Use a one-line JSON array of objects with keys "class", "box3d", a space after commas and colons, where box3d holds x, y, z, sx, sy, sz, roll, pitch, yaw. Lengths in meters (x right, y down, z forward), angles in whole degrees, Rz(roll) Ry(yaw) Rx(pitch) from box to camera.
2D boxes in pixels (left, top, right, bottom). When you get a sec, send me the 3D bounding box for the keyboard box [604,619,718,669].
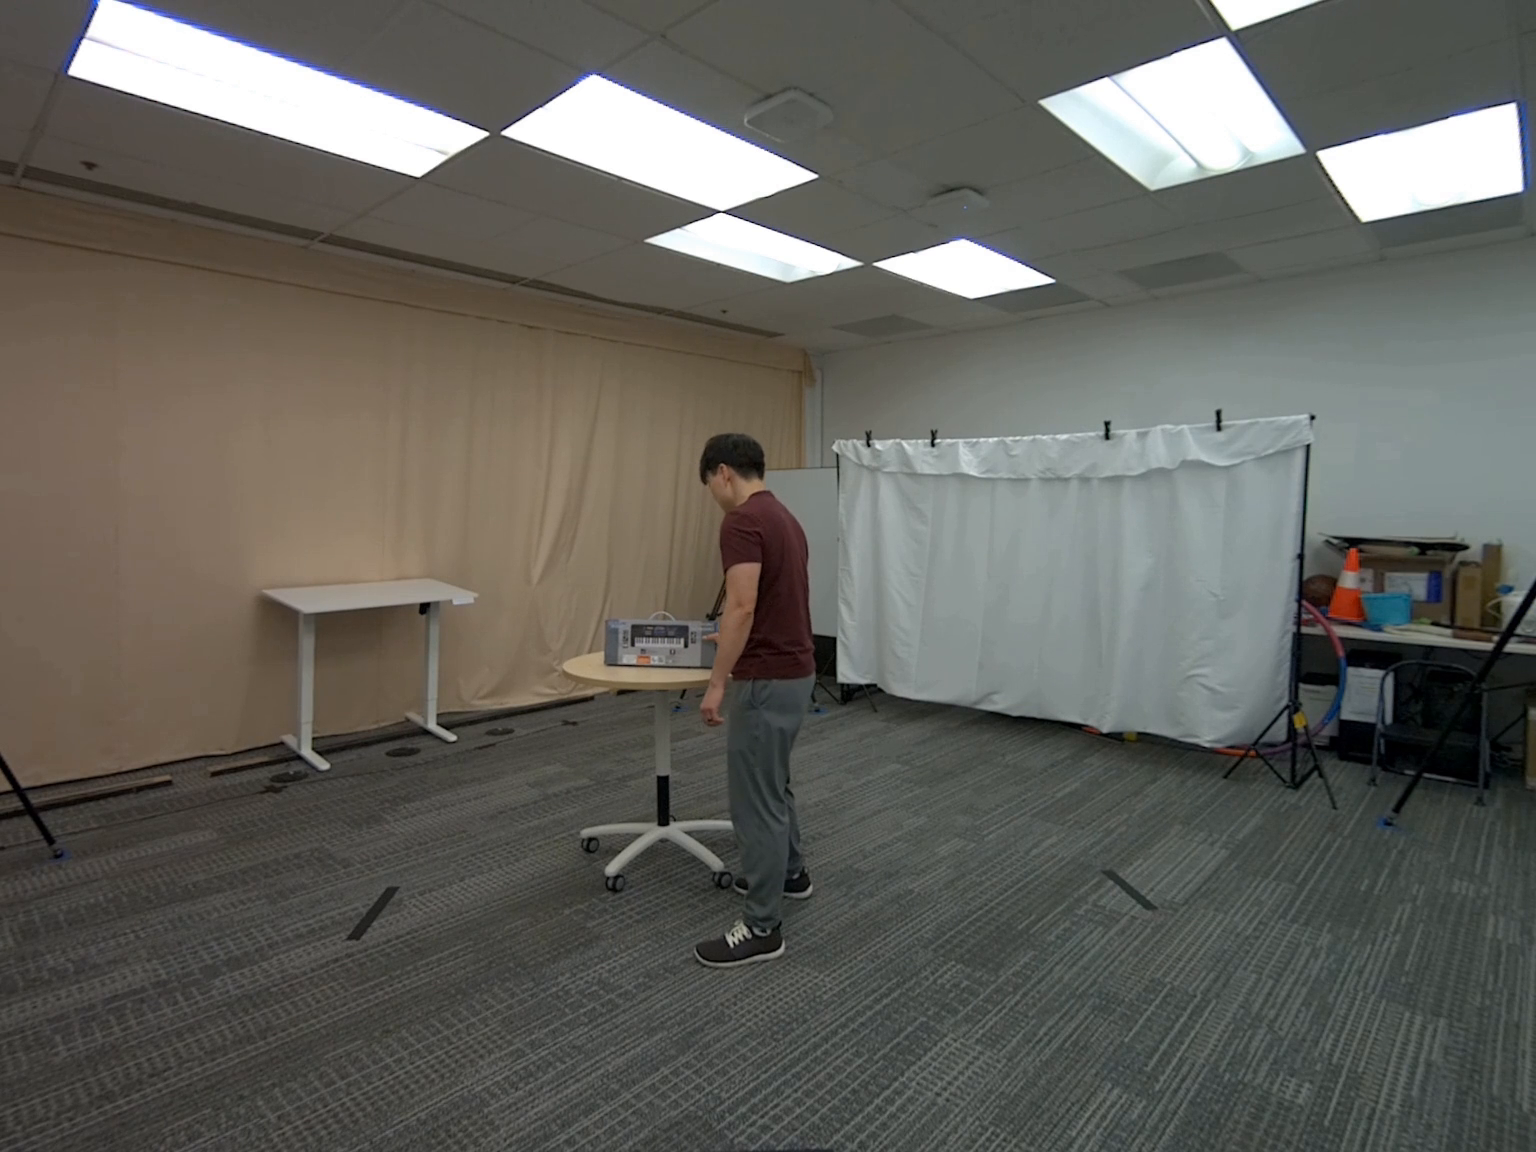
[{"class": "keyboard box", "box3d": [-0.408, 0.257, 3.213, 0.443, 0.176, 0.058, 1, -4, 12]}]
